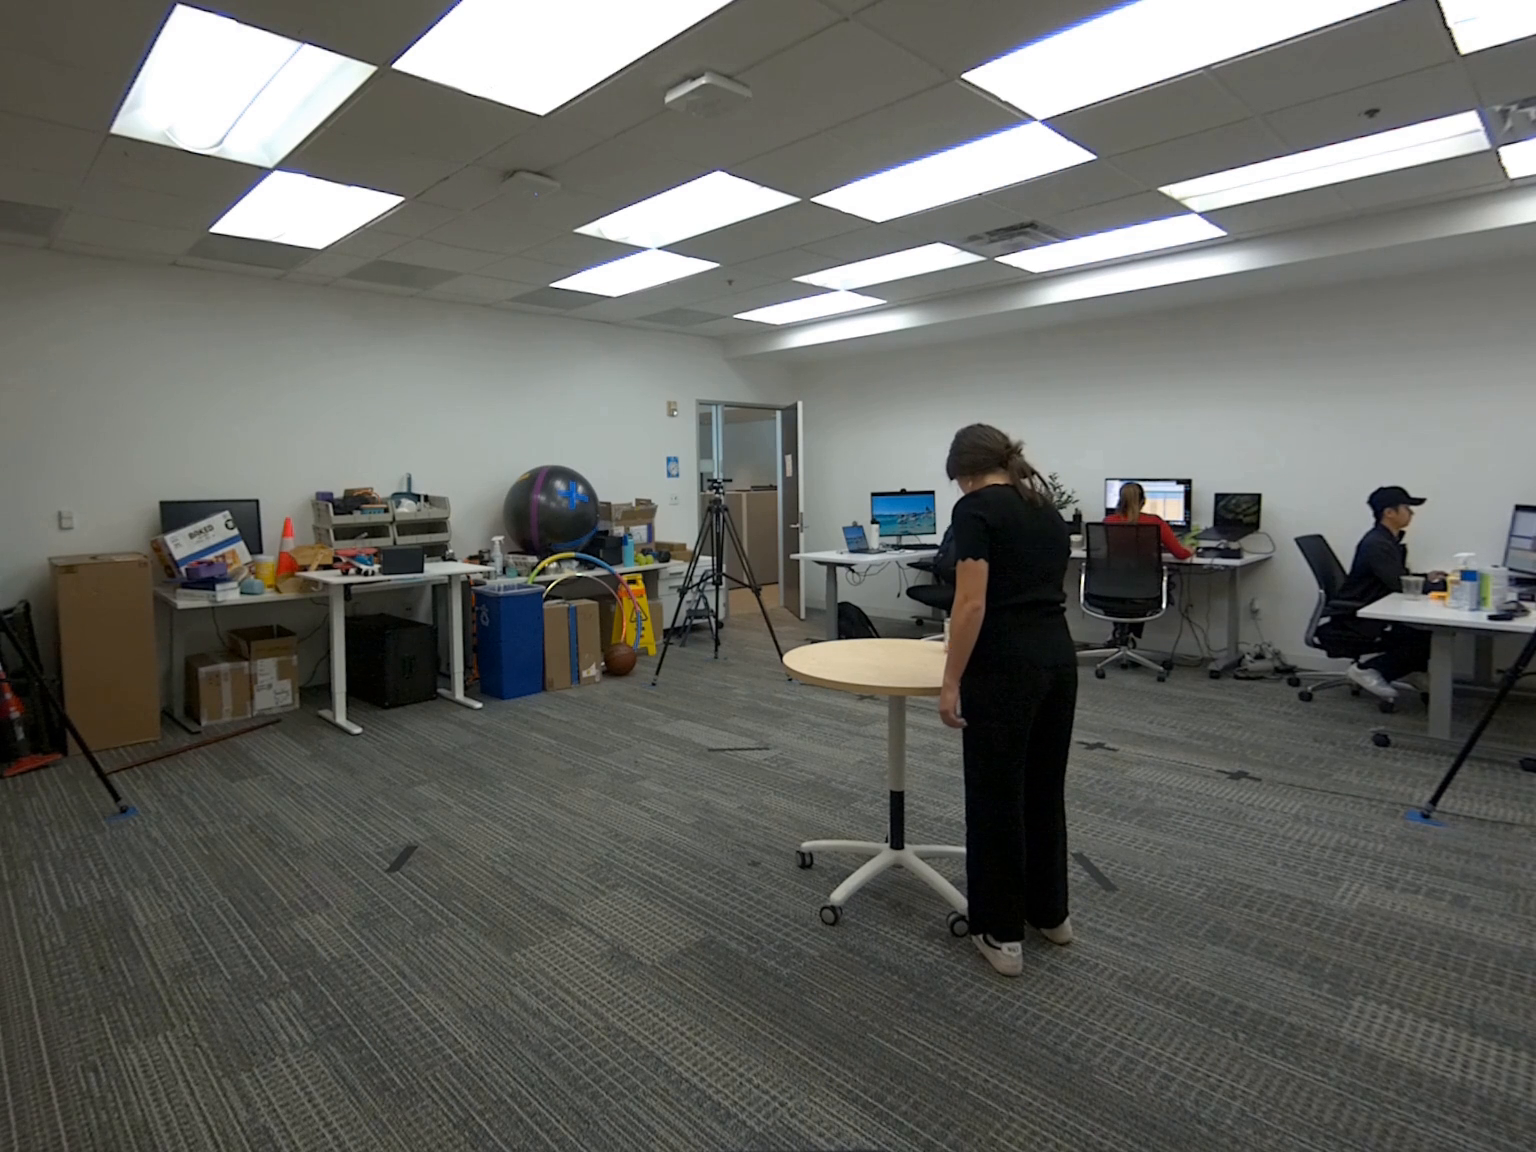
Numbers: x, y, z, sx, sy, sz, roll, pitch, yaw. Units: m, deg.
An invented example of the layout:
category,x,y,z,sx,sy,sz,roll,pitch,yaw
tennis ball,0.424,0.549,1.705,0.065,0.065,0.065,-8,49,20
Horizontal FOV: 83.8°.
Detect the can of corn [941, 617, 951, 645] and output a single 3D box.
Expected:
category,x,y,z,sx,sy,sz,roll,pitch,yaw
can of corn,0.666,0.212,2.974,0.074,0.110,0.074,3,5,-2
